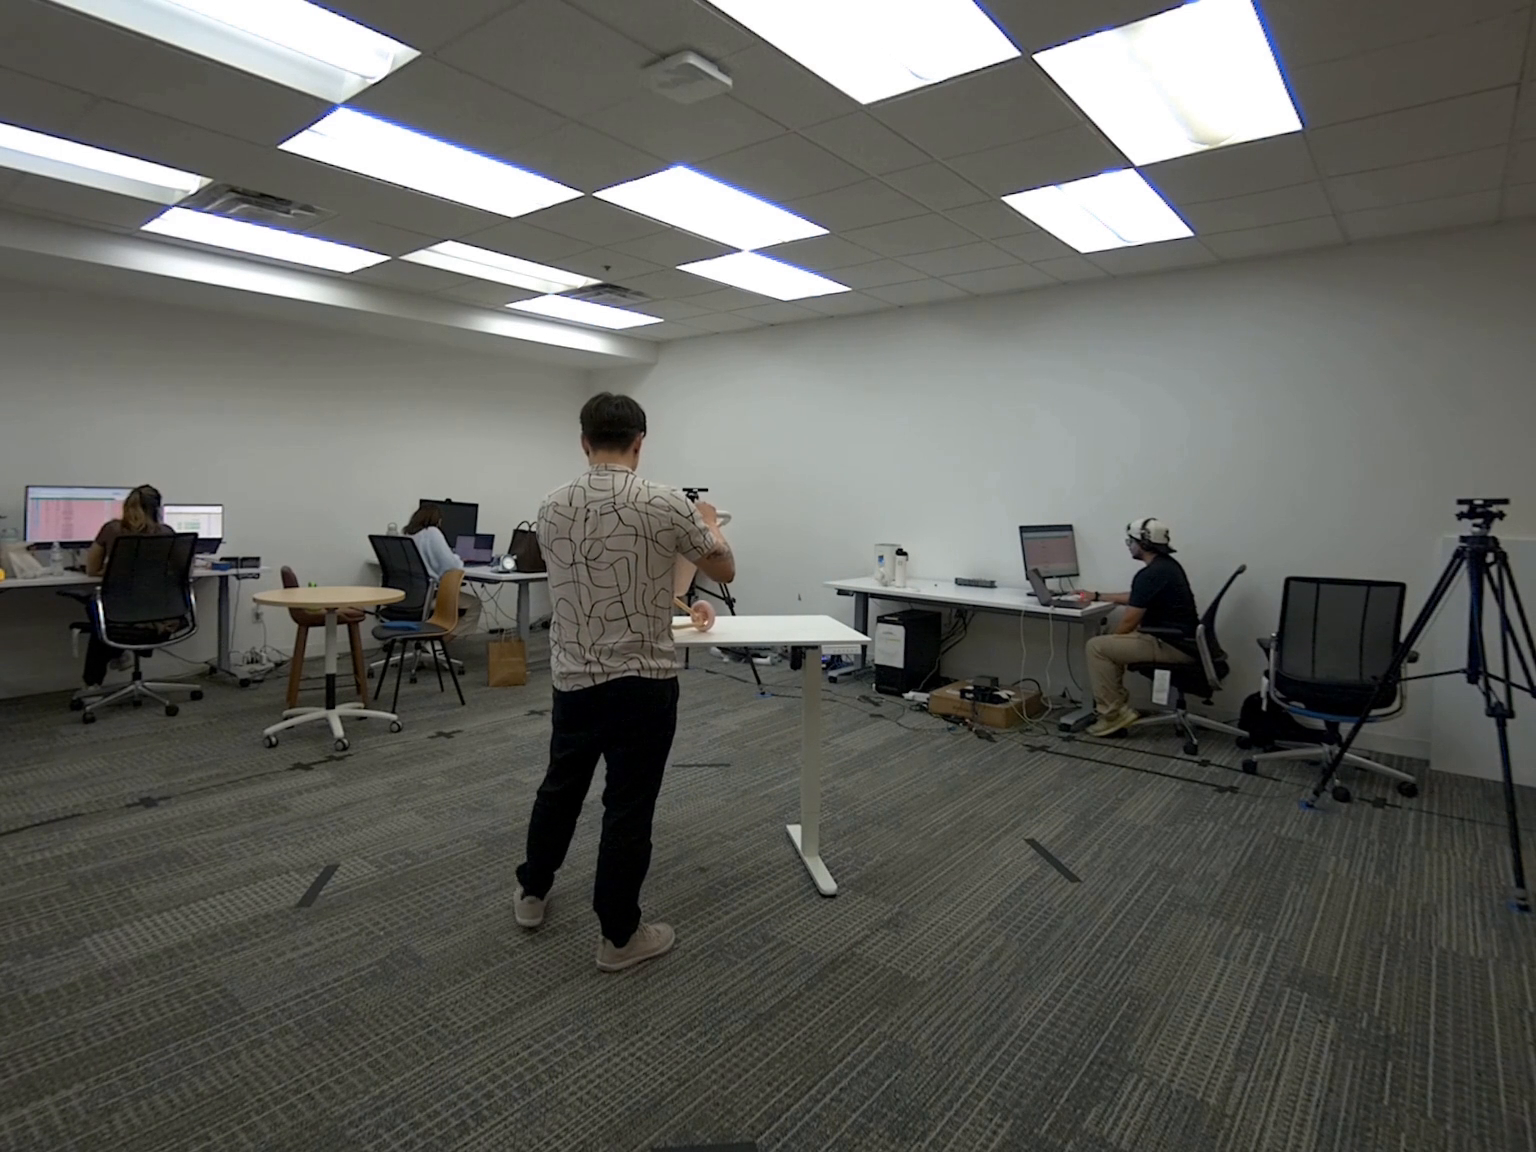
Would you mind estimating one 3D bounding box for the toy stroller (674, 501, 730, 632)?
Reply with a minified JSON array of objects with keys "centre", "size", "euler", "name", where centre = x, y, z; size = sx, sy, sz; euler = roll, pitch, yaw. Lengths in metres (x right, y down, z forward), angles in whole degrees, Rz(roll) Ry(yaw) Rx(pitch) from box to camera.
[{"centre":[-0.359,-0.025,2.962],"size":[0.355,0.530,0.273],"euler":[24,17,38],"name":"toy stroller"}]
